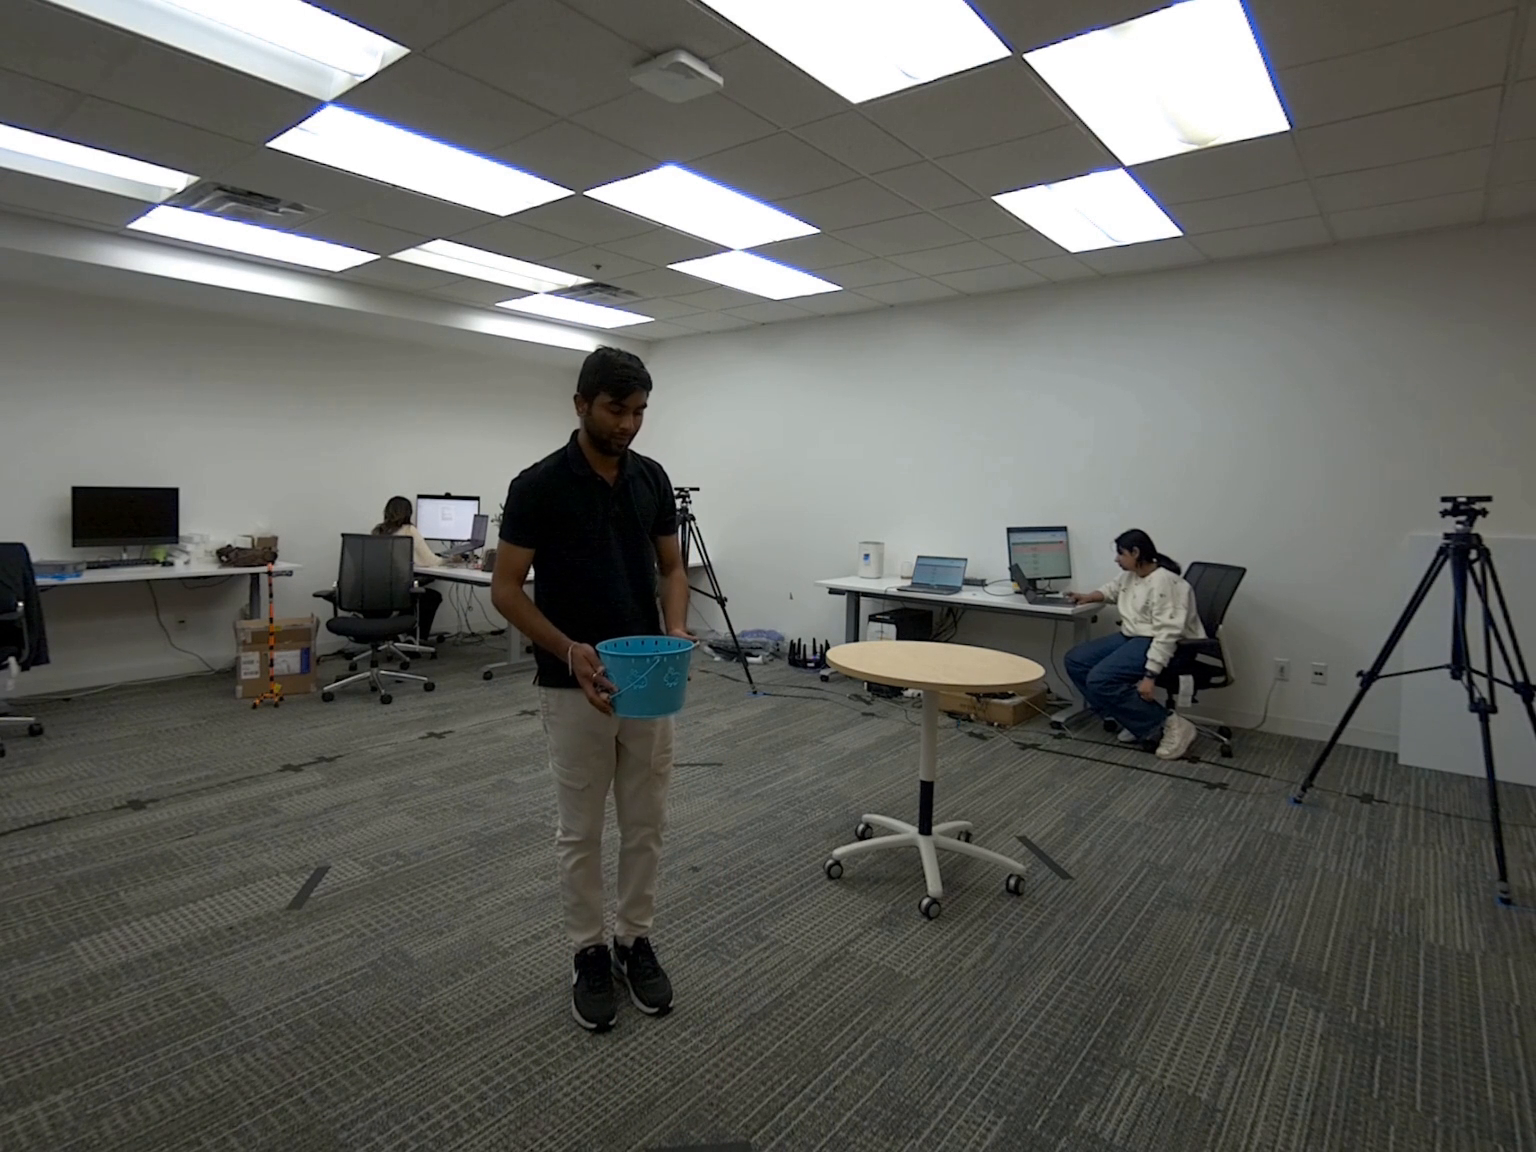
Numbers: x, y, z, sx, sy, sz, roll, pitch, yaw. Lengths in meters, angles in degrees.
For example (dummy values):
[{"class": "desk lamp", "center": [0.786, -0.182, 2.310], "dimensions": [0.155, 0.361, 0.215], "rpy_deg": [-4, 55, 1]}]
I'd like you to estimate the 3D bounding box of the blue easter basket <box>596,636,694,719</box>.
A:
[{"class": "blue easter basket", "center": [-0.298, 0.230, 2.025], "dimensions": [0.243, 0.155, 0.245], "rpy_deg": [2, 5, -2]}]
